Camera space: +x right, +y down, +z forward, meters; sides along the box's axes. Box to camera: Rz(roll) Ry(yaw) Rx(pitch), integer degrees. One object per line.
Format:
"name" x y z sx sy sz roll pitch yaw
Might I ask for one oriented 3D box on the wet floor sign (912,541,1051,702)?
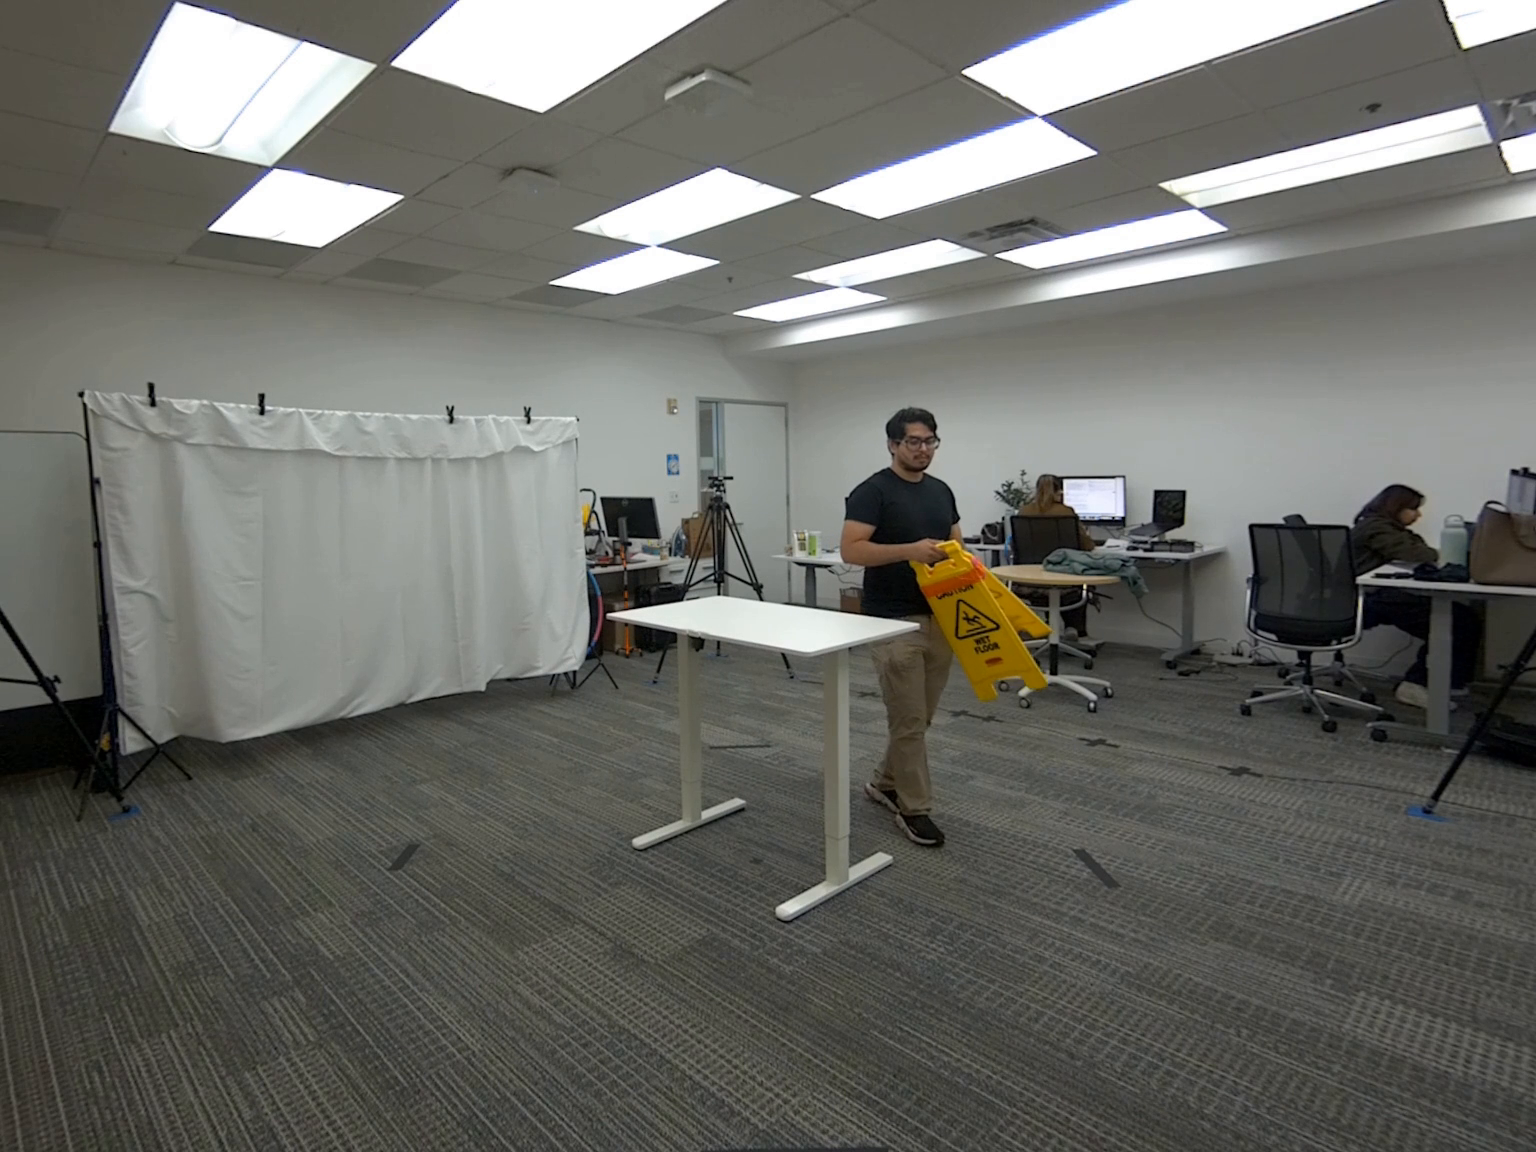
"wet floor sign" 0.780 0.132 3.220 0.286 0.630 0.293 -24 26 37
